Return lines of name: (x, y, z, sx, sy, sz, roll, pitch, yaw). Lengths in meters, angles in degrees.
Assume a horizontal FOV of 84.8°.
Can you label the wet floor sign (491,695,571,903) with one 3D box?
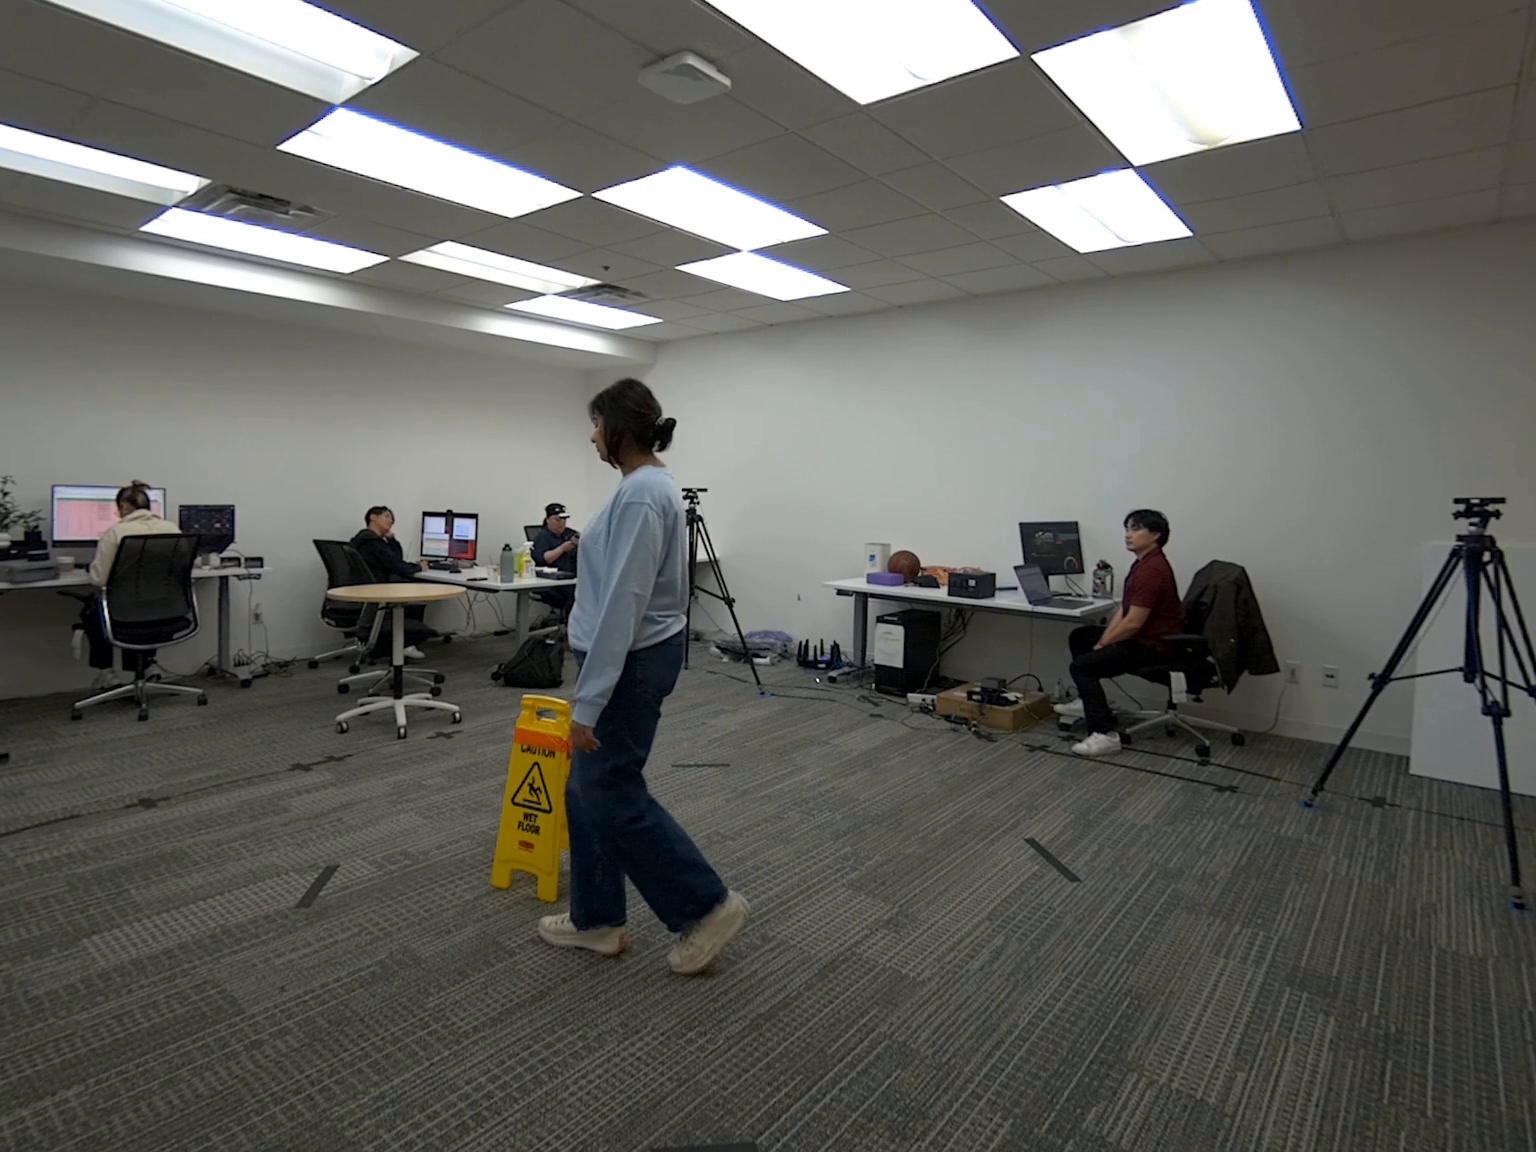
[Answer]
wet floor sign: (-0.799, 0.748, 2.985, 0.289, 0.644, 0.283, 2, 4, 24)
